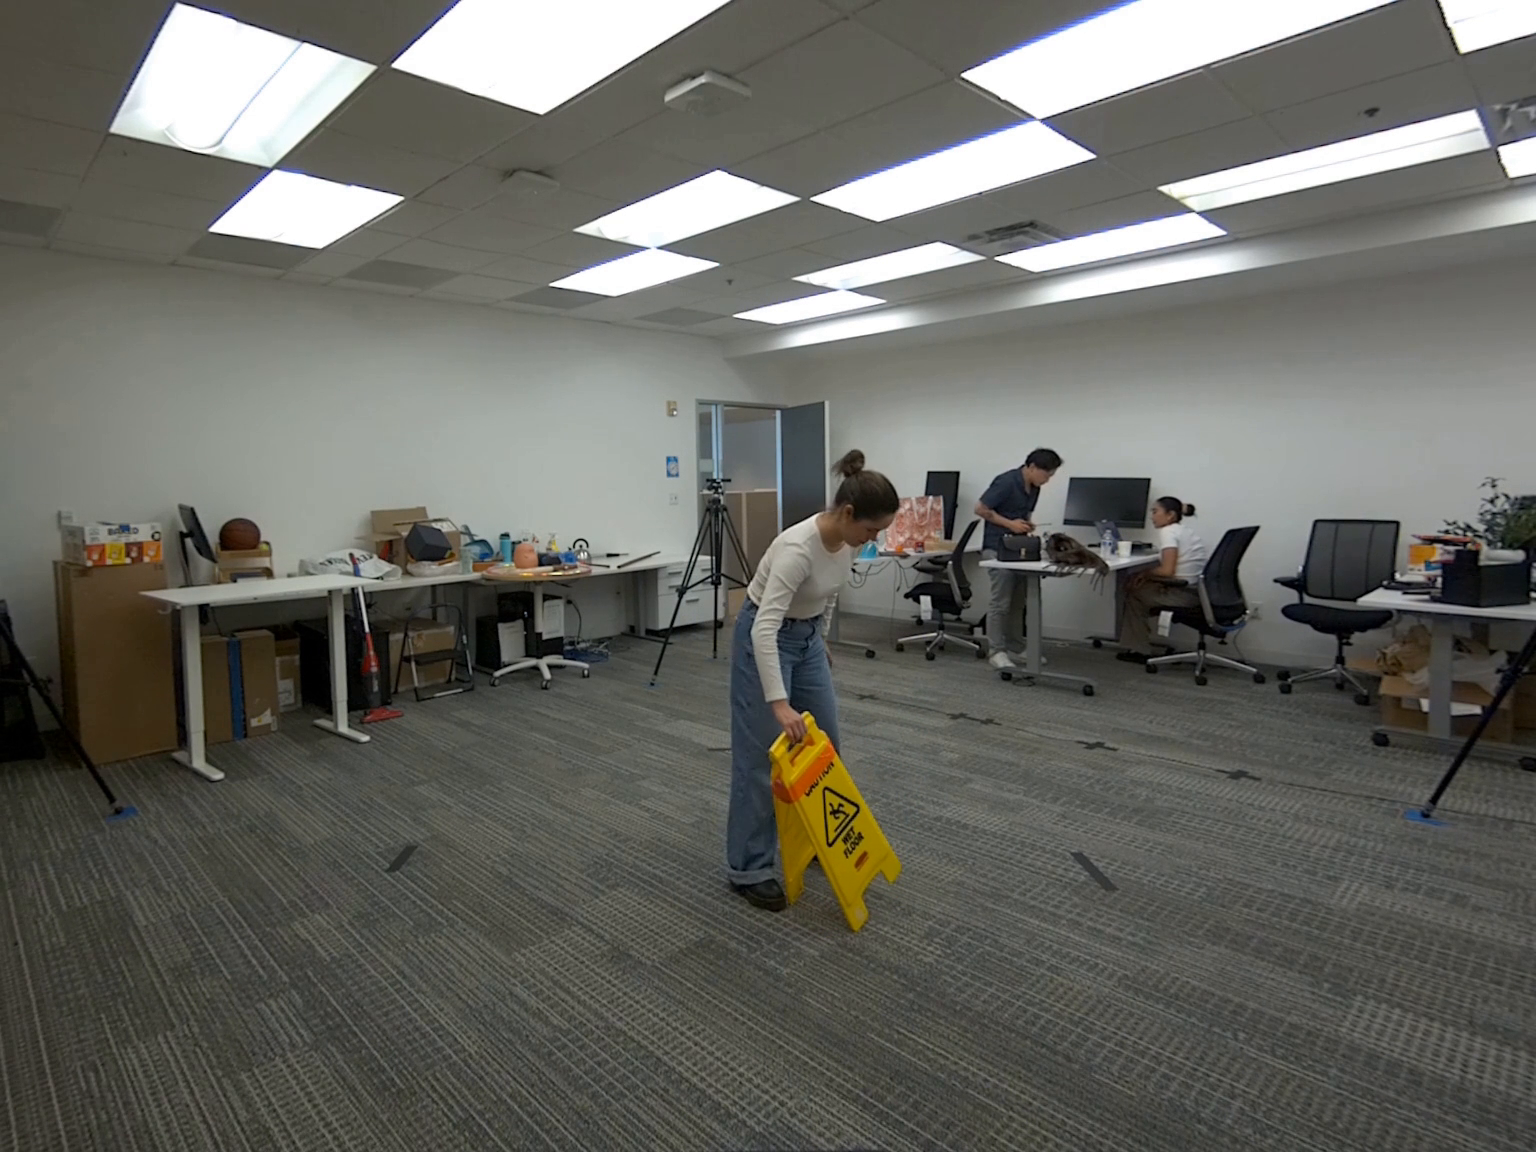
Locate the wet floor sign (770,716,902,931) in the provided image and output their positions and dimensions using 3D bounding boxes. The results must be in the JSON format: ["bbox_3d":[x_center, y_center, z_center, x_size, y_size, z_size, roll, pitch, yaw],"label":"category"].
[{"bbox_3d":[0.161,0.745,2.690,0.298,0.631,0.280,2,29,42],"label":"wet floor sign"}]
